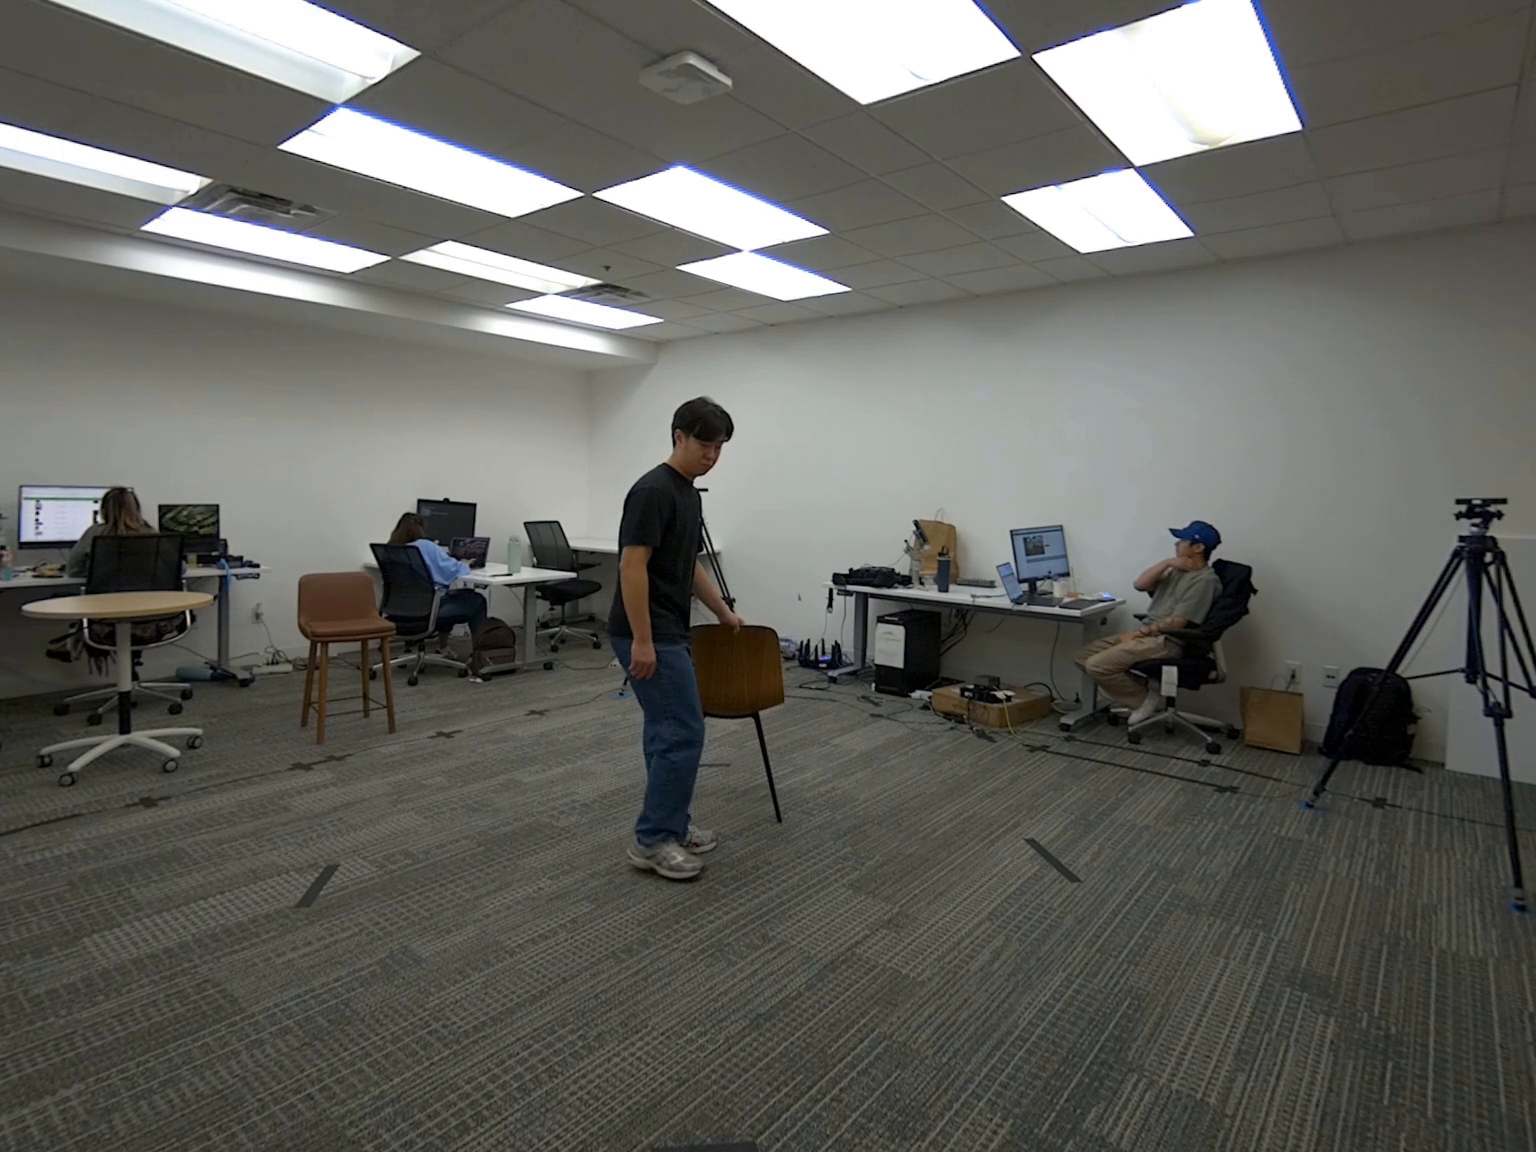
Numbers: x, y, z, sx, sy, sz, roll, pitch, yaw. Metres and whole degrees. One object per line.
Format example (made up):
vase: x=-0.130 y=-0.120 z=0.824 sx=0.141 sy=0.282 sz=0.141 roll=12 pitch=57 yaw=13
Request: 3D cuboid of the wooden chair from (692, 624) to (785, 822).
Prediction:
wooden chair: x=-0.193 y=0.577 z=3.764 sx=0.477 sy=0.872 sz=0.528 roll=0 pitch=7 yaw=-4
